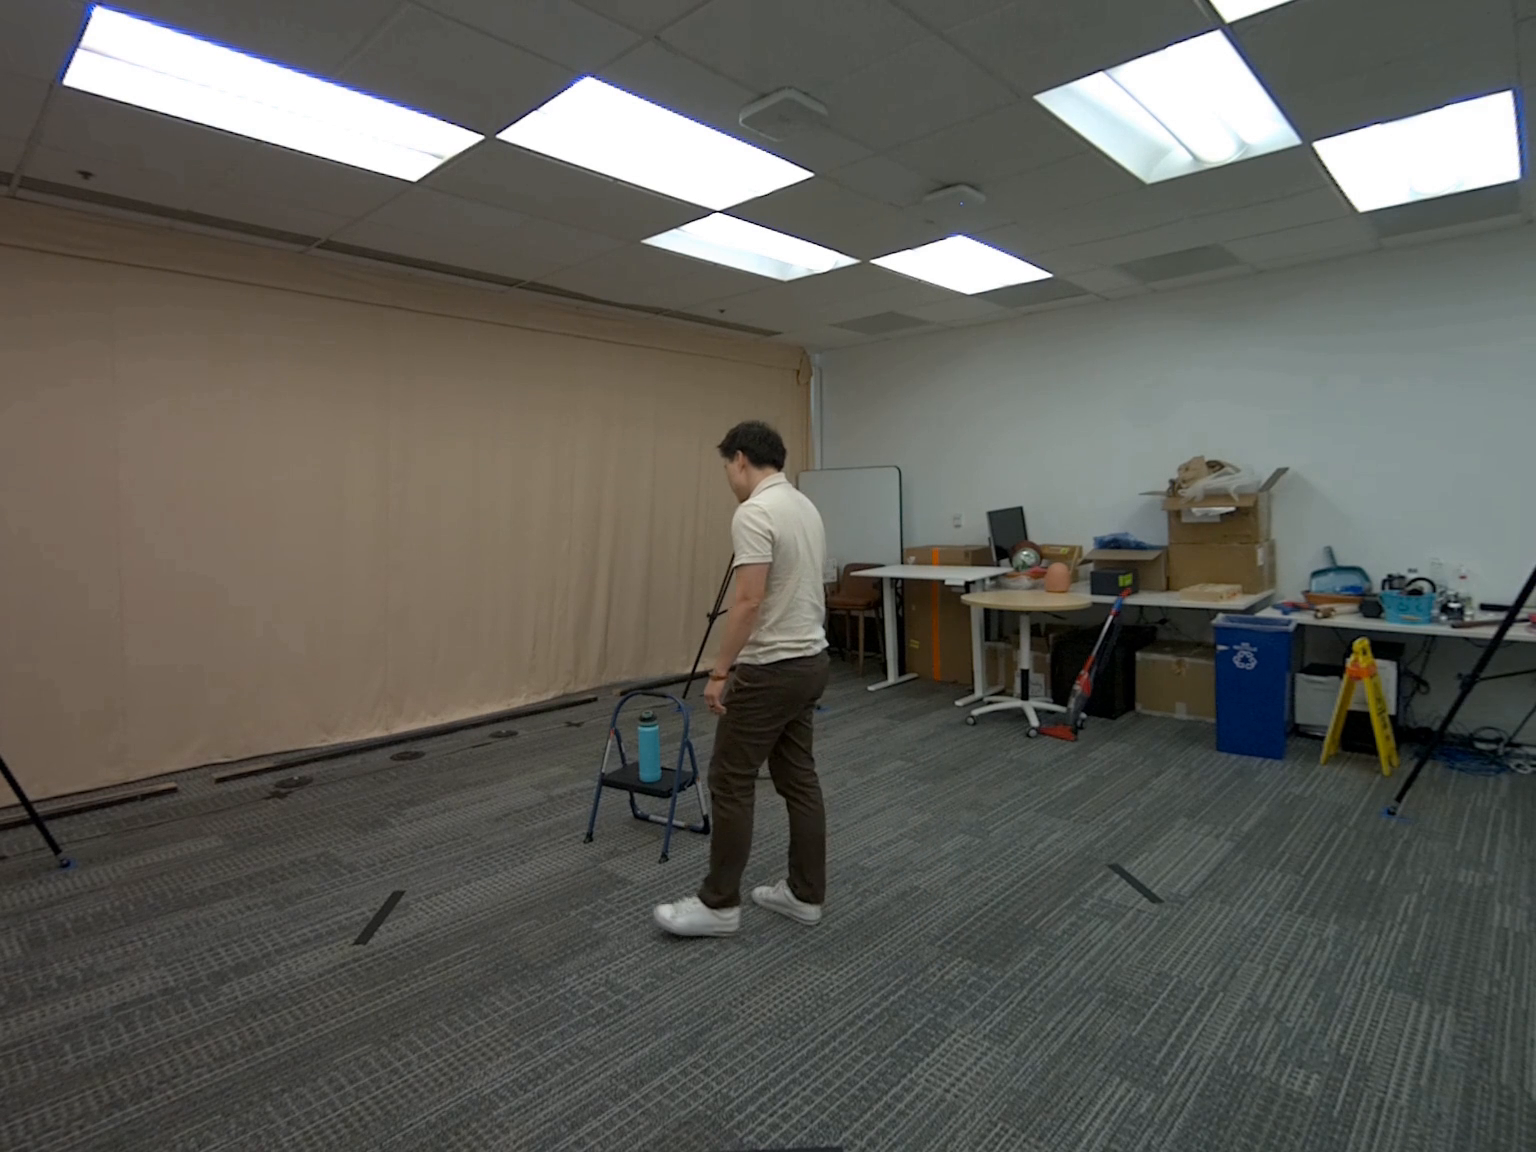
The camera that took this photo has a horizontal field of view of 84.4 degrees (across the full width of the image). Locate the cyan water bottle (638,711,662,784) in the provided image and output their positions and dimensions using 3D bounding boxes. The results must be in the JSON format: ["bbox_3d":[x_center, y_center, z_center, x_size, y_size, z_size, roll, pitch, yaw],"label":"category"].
[{"bbox_3d":[-0.491,0.704,3.506,0.092,0.283,0.092,-1,1,-2],"label":"cyan water bottle"}]
